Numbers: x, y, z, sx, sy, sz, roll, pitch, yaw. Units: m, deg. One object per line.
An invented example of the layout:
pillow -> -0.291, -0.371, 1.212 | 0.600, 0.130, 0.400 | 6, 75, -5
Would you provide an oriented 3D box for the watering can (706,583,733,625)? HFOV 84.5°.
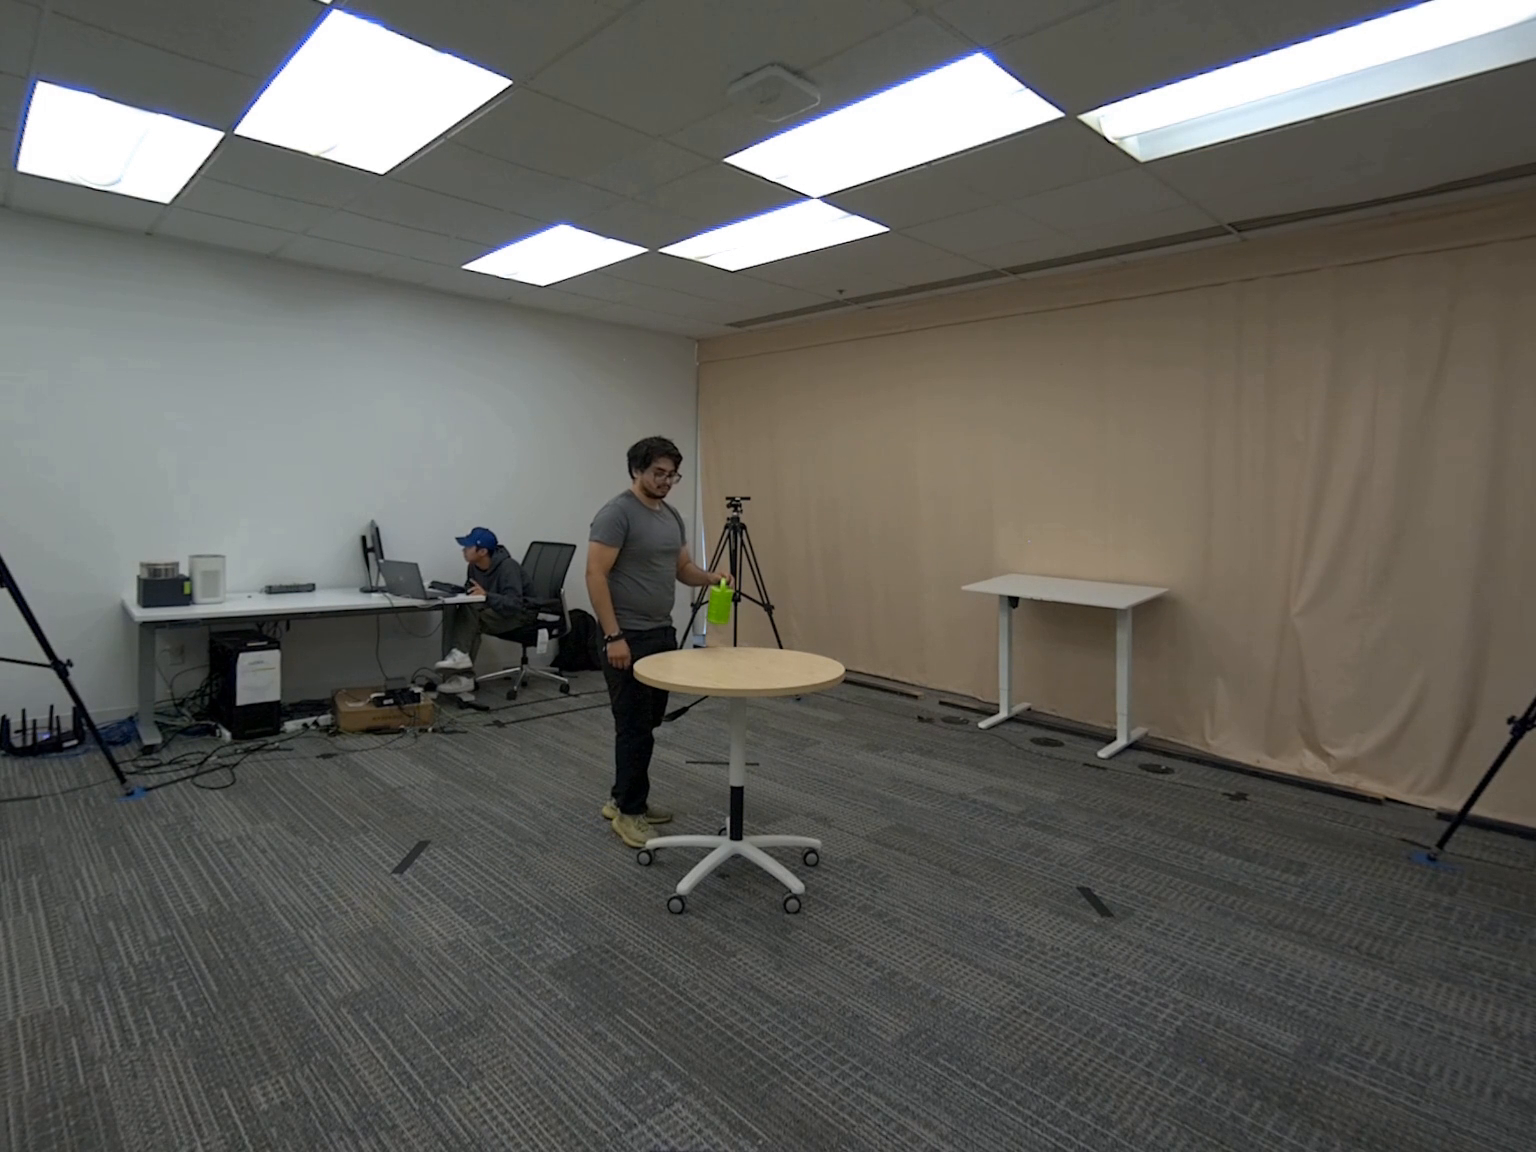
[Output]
watering can -> -0.218, 0.101, 3.368 | 0.099, 0.176, 0.275 | 11, 6, 13
